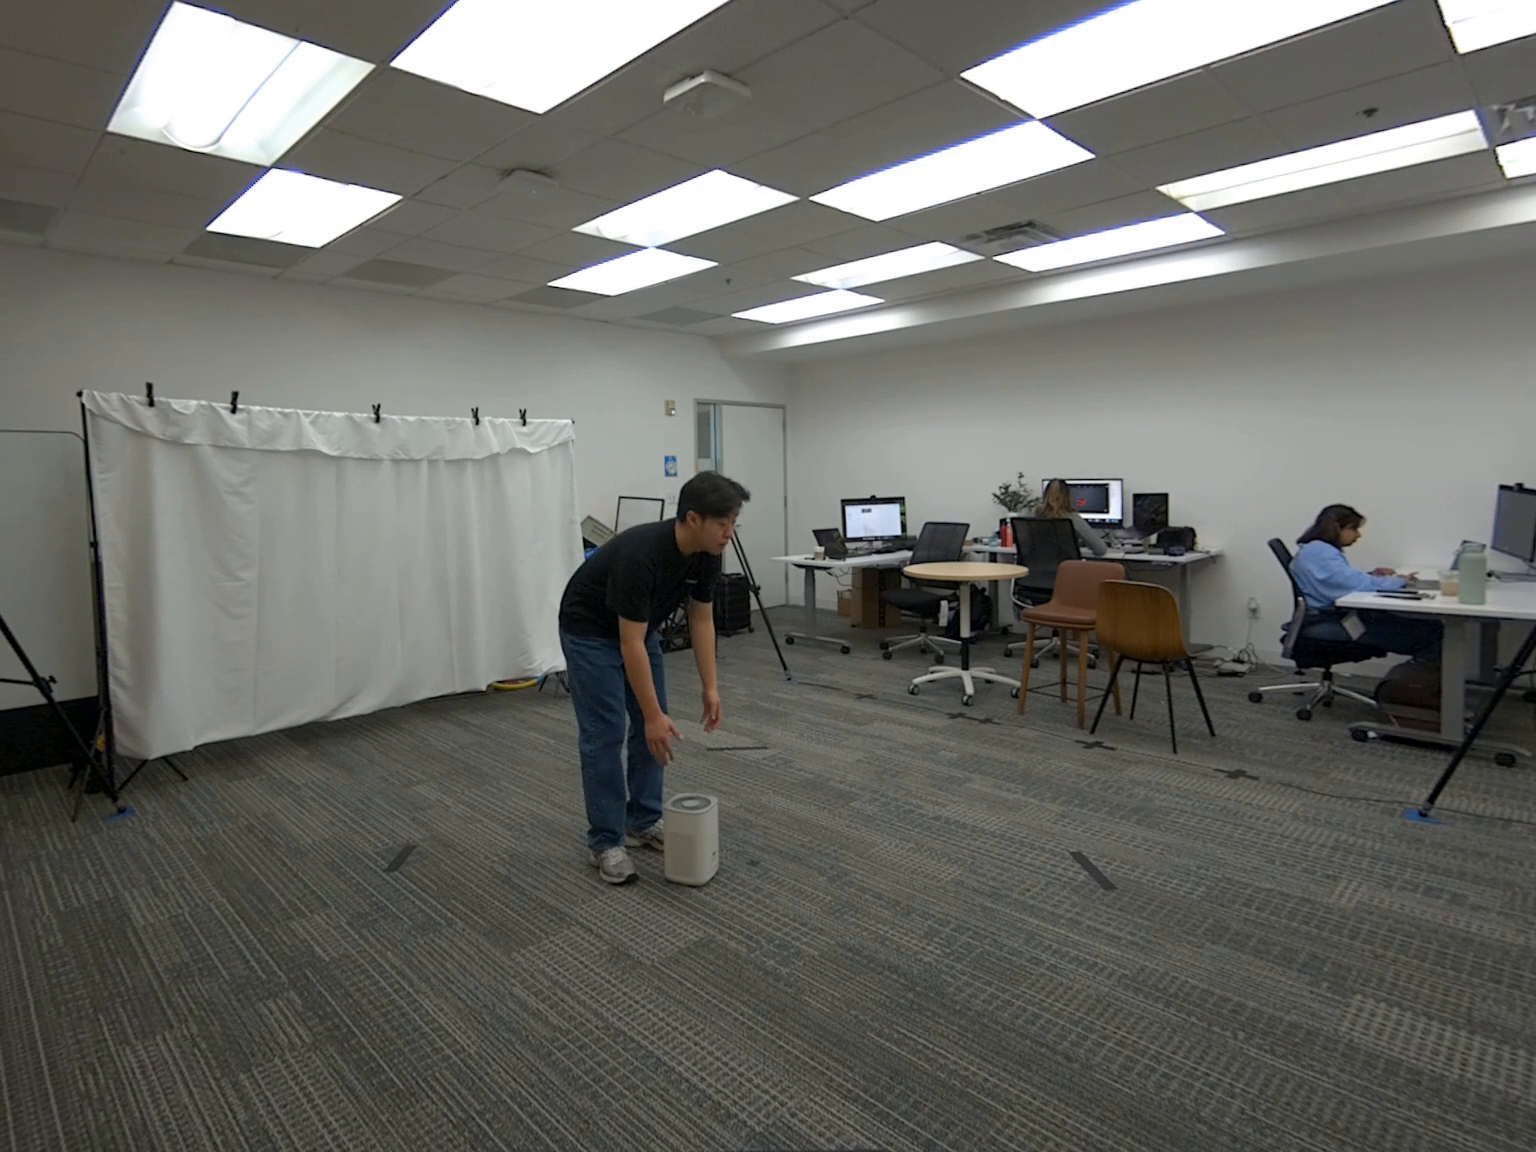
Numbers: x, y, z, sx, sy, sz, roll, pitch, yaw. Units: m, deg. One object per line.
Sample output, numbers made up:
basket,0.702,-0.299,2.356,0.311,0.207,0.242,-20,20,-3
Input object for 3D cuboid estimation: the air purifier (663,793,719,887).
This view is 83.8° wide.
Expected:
air purifier,-0.263,0.923,2.997,0.175,0.264,0.168,1,4,20
